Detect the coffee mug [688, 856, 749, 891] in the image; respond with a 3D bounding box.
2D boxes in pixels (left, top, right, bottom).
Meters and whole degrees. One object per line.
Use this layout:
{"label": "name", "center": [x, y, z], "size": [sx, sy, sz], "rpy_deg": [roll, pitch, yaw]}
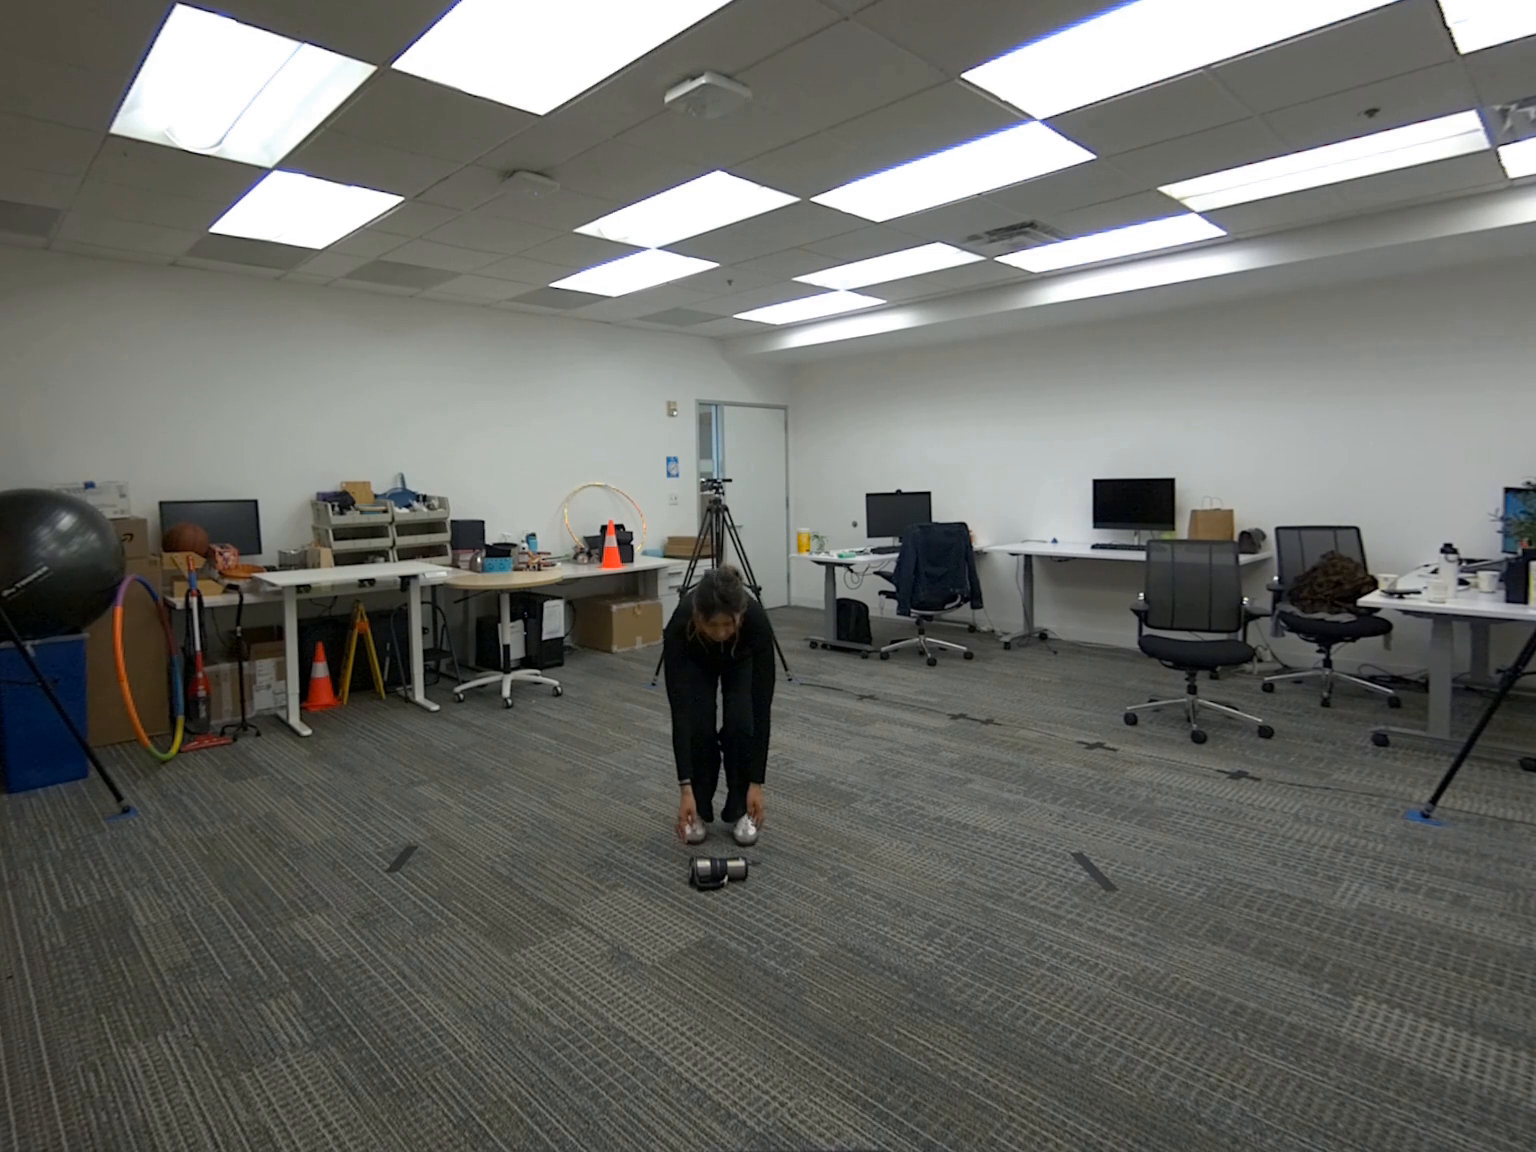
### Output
{"label": "coffee mug", "center": [-0.176, 1.036, 2.966], "size": [0.201, 0.125, 0.086], "rpy_deg": [3, -37, -10]}
